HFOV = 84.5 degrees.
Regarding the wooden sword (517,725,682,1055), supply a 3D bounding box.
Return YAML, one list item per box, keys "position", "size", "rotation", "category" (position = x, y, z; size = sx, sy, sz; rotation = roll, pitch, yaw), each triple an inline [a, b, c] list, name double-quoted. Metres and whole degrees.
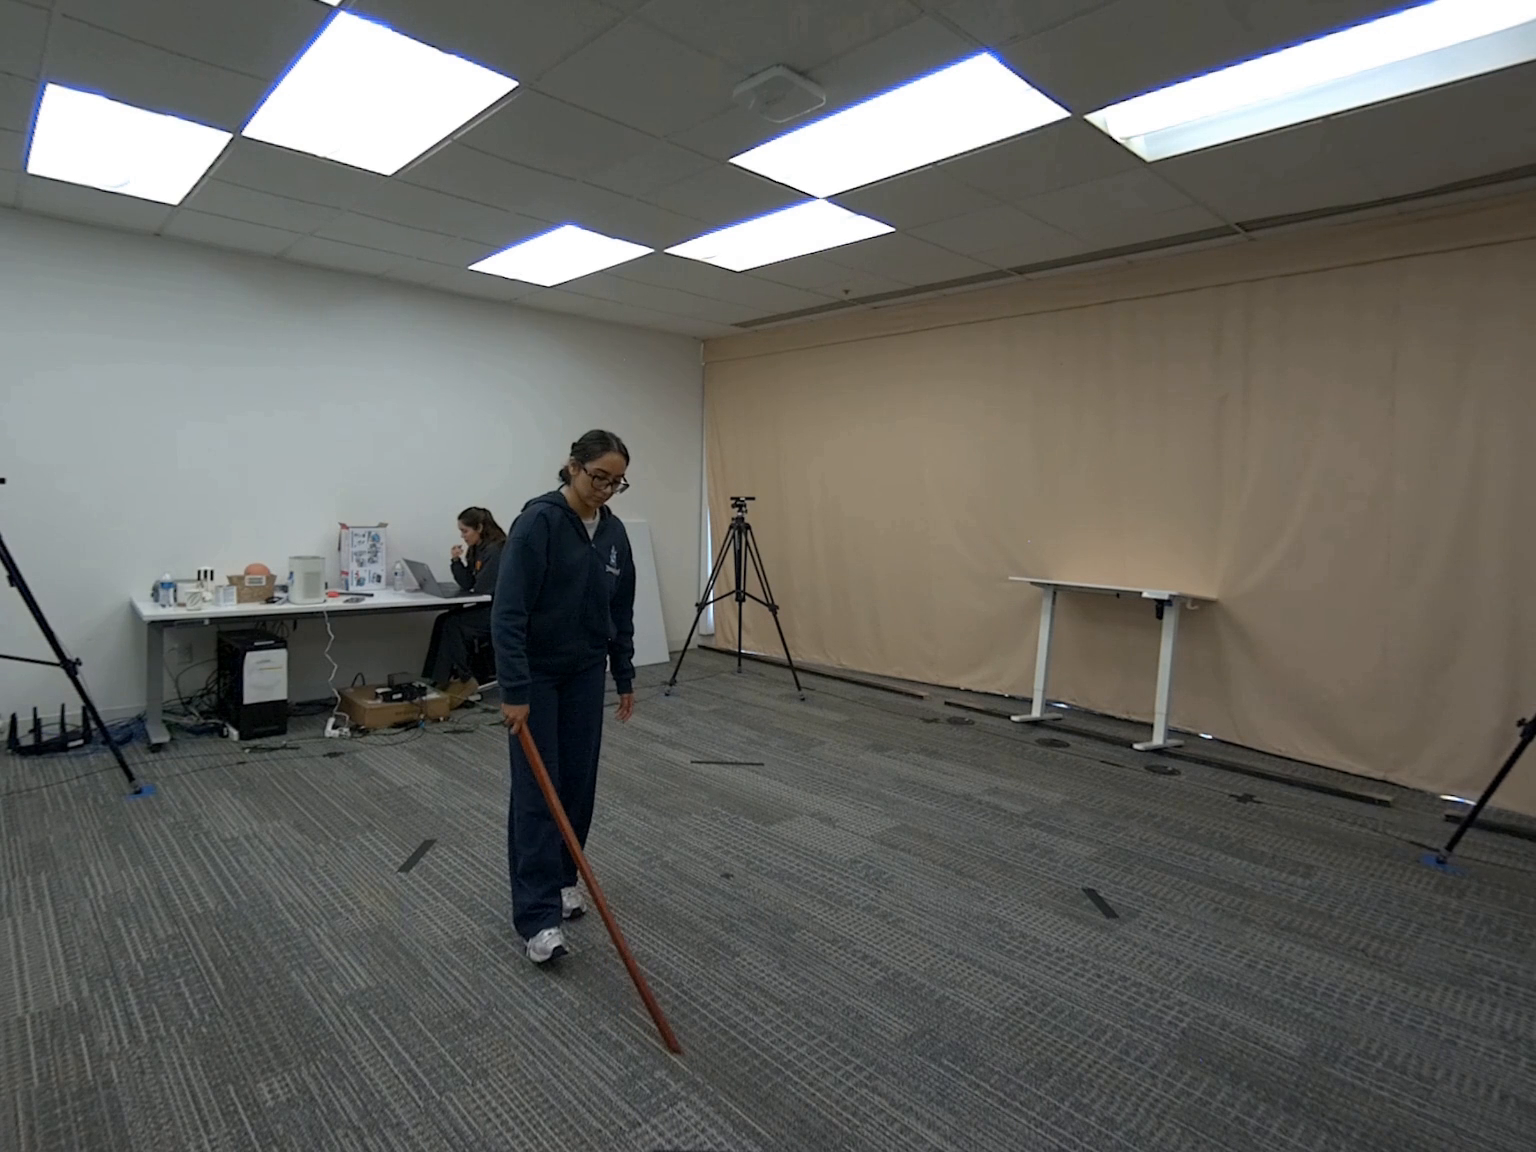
- position: [-0.500, 0.807, 2.289]
  size: [0.051, 1.047, 0.024]
  rotation: [-25, -23, -22]
  category: "wooden sword"
